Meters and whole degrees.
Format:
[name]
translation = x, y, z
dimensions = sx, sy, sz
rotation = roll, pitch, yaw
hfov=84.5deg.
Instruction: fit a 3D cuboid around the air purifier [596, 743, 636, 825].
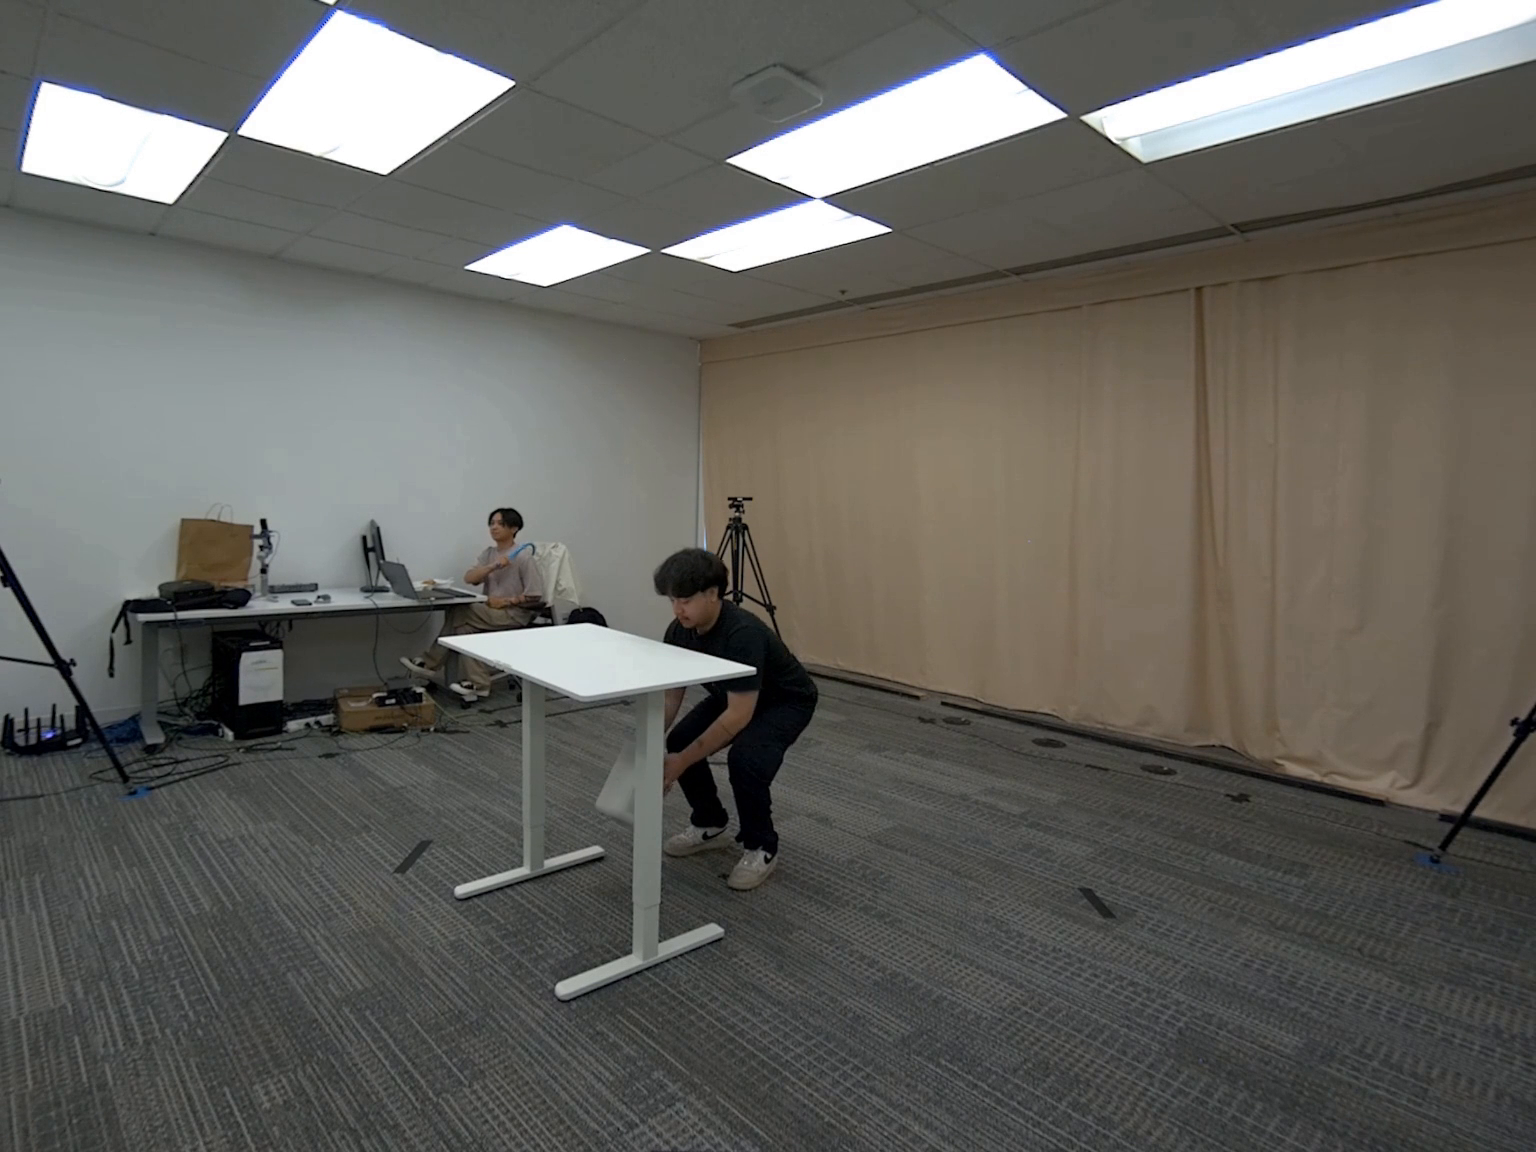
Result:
[air purifier]
translation = -0.466, 0.741, 2.930
dimensions = 0.167, 0.267, 0.175
rotation = 38, -26, -33
